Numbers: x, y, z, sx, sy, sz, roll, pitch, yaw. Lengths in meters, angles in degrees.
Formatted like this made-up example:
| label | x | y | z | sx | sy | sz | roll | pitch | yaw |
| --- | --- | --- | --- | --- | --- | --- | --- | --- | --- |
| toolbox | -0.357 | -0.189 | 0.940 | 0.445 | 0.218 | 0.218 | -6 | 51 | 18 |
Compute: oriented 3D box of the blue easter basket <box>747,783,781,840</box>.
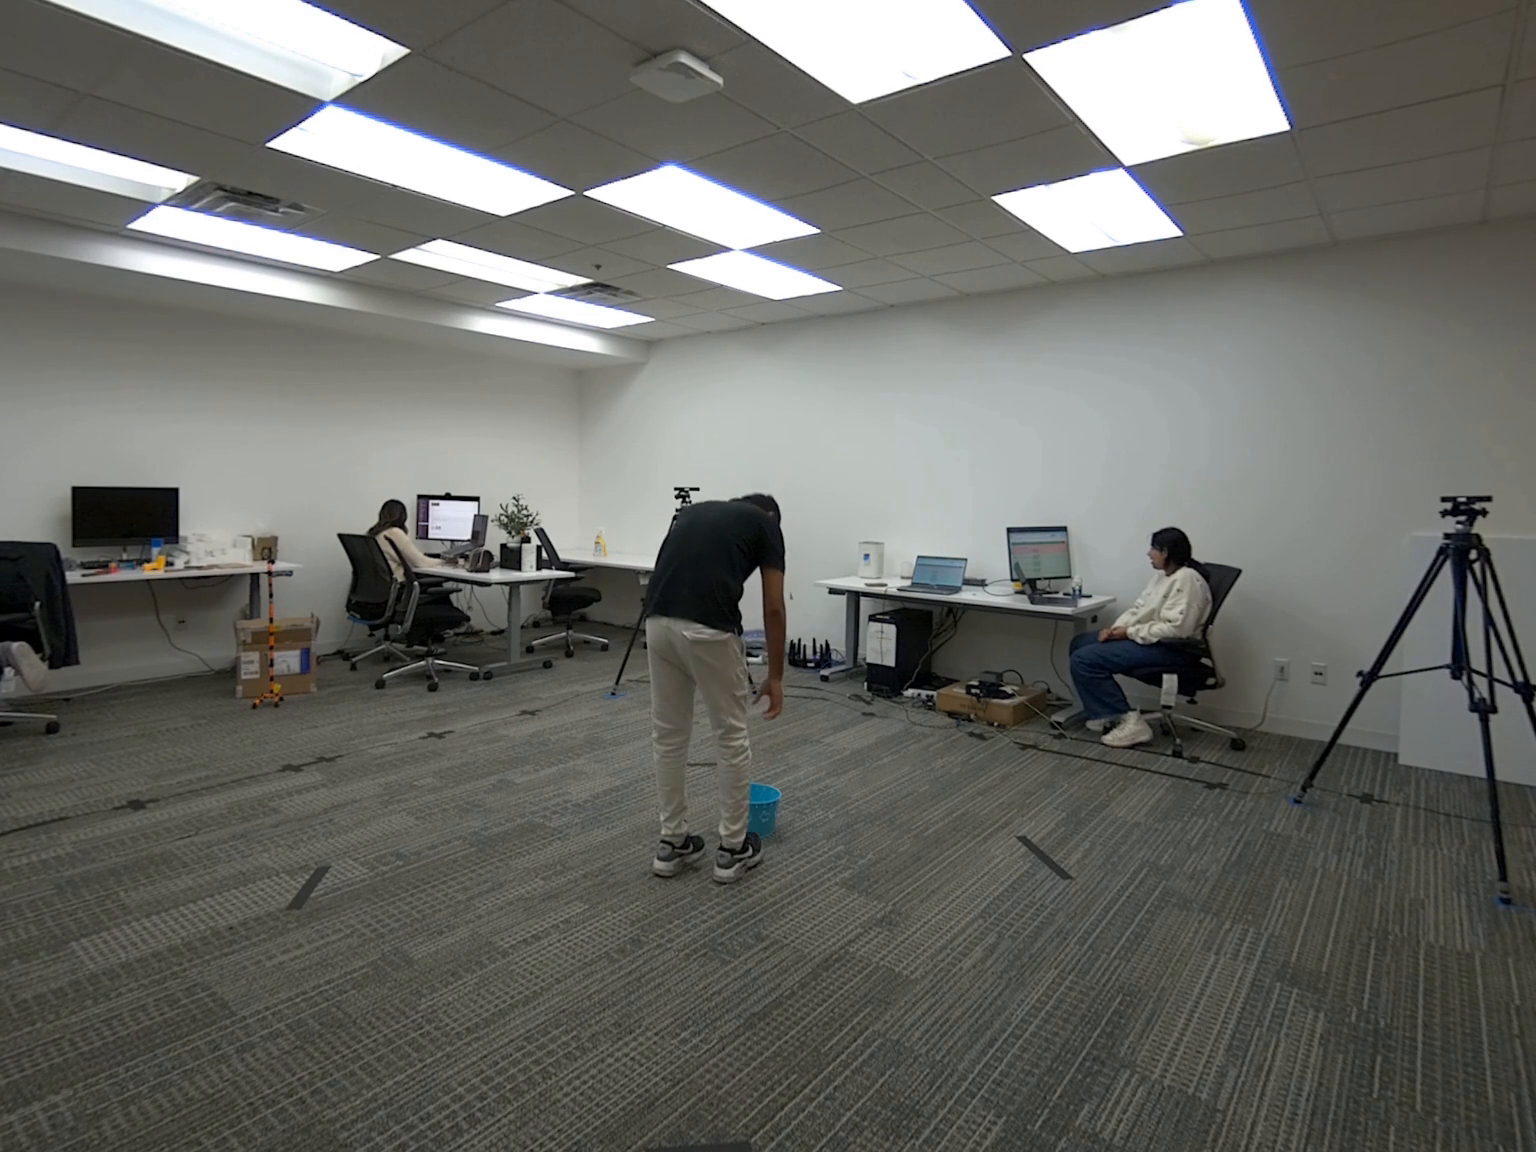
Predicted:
| label | x | y | z | sx | sy | sz | roll | pitch | yaw |
| --- | --- | --- | --- | --- | --- | --- | --- | --- | --- |
| blue easter basket | -0.077 | 0.950 | 3.479 | 0.243 | 0.155 | 0.245 | 1 | 5 | -2 |
